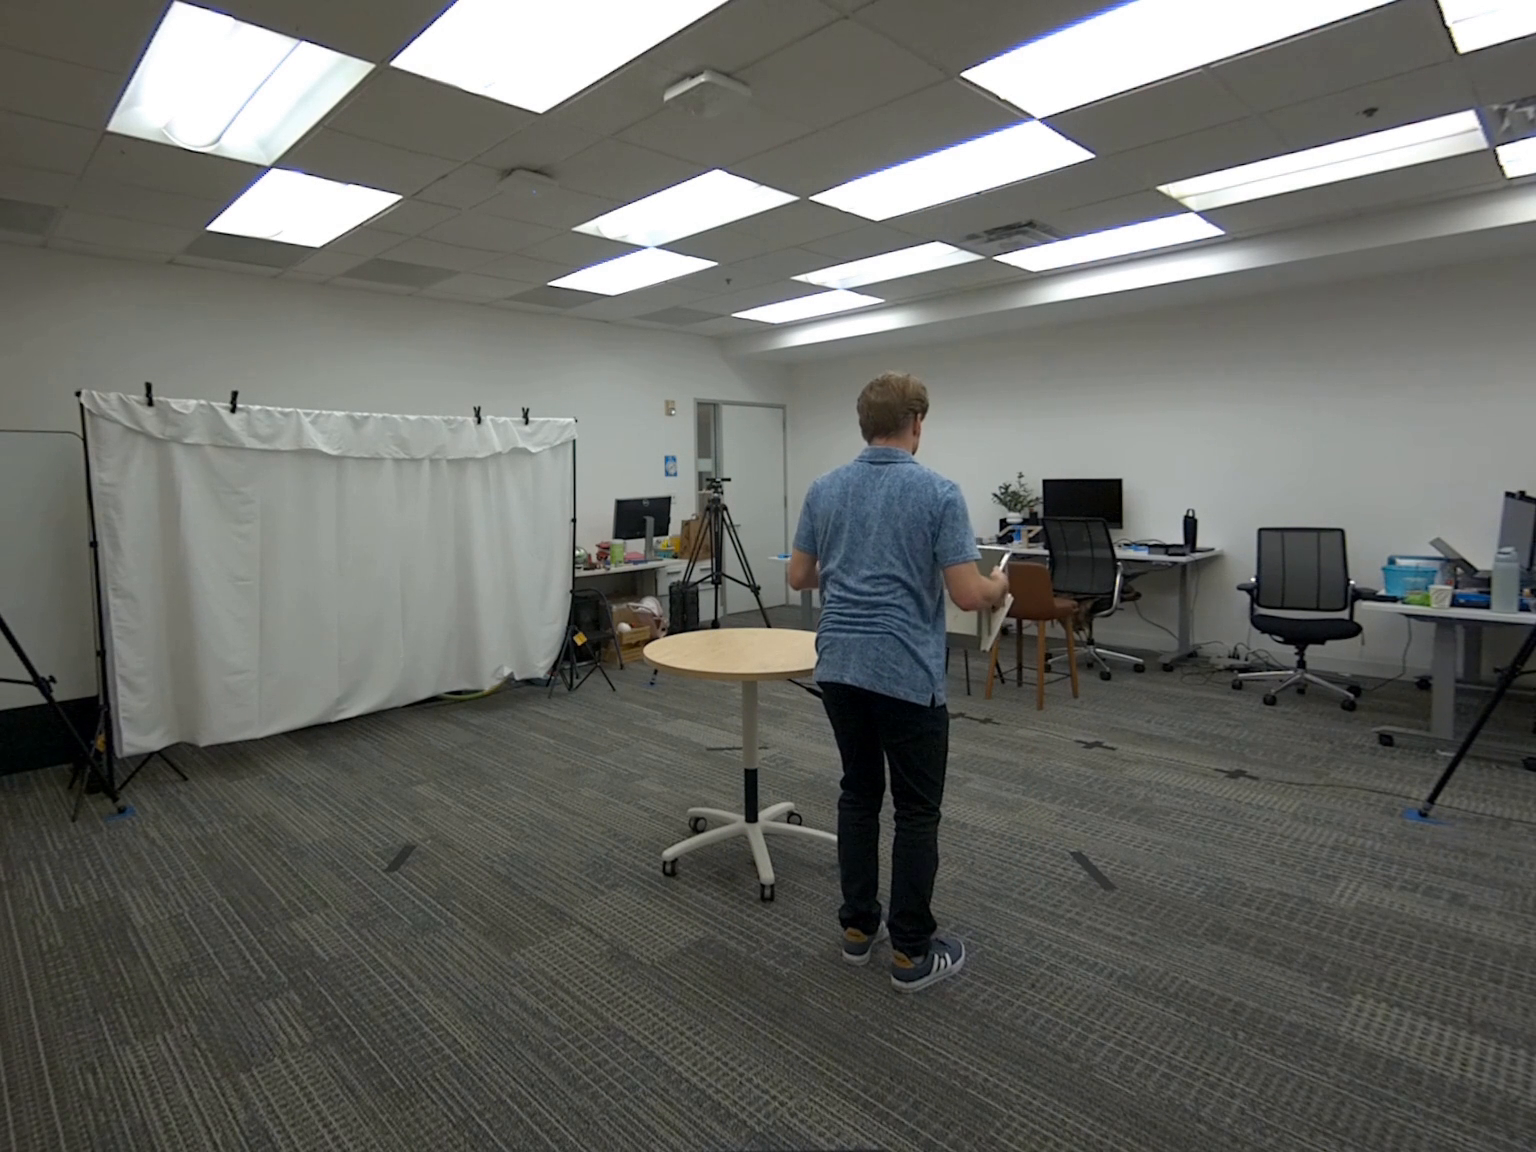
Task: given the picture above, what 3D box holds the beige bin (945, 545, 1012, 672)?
[{"bbox_3d":[0.532,0.066,2.721,0.434,0.184,0.376,5,30,31],"label":"beige bin"}]
